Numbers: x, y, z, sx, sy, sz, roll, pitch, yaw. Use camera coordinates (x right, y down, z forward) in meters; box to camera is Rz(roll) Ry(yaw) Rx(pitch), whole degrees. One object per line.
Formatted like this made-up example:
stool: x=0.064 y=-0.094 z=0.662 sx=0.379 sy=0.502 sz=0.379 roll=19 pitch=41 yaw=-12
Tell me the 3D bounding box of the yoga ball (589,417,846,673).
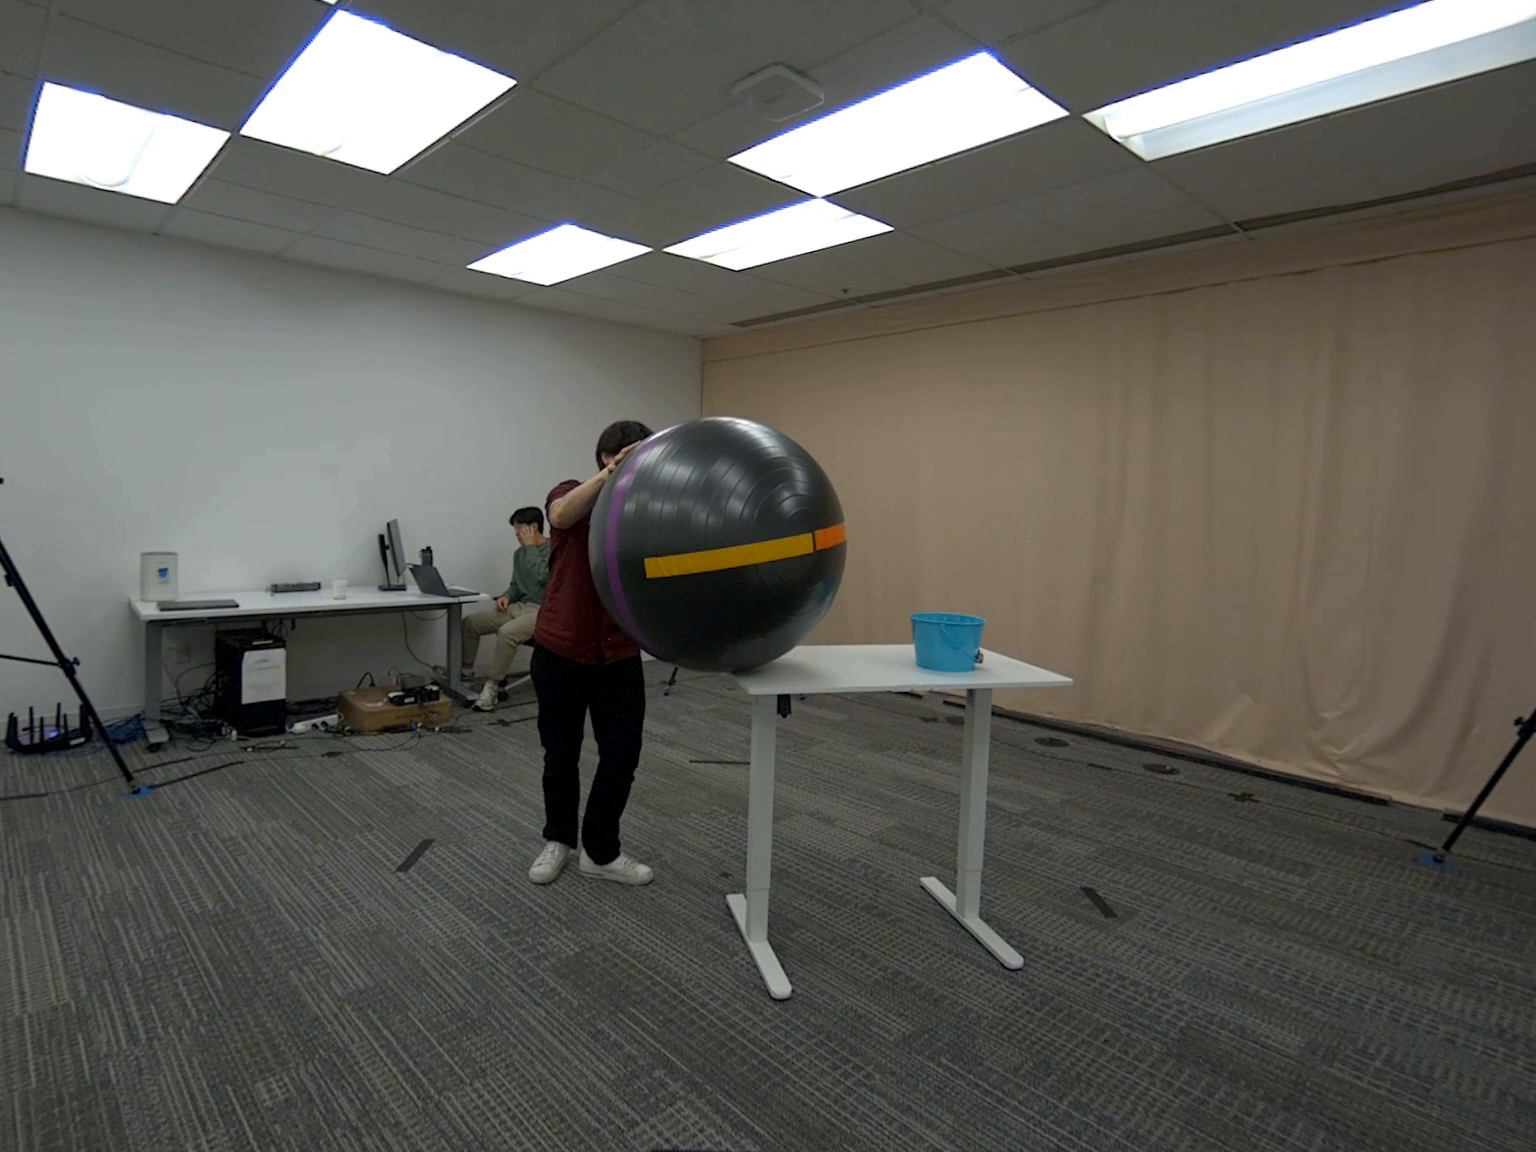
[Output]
yoga ball: x=-0.150 y=-0.082 z=2.495 sx=0.757 sy=0.756 sz=0.760 roll=1 pitch=4 yaw=-1
